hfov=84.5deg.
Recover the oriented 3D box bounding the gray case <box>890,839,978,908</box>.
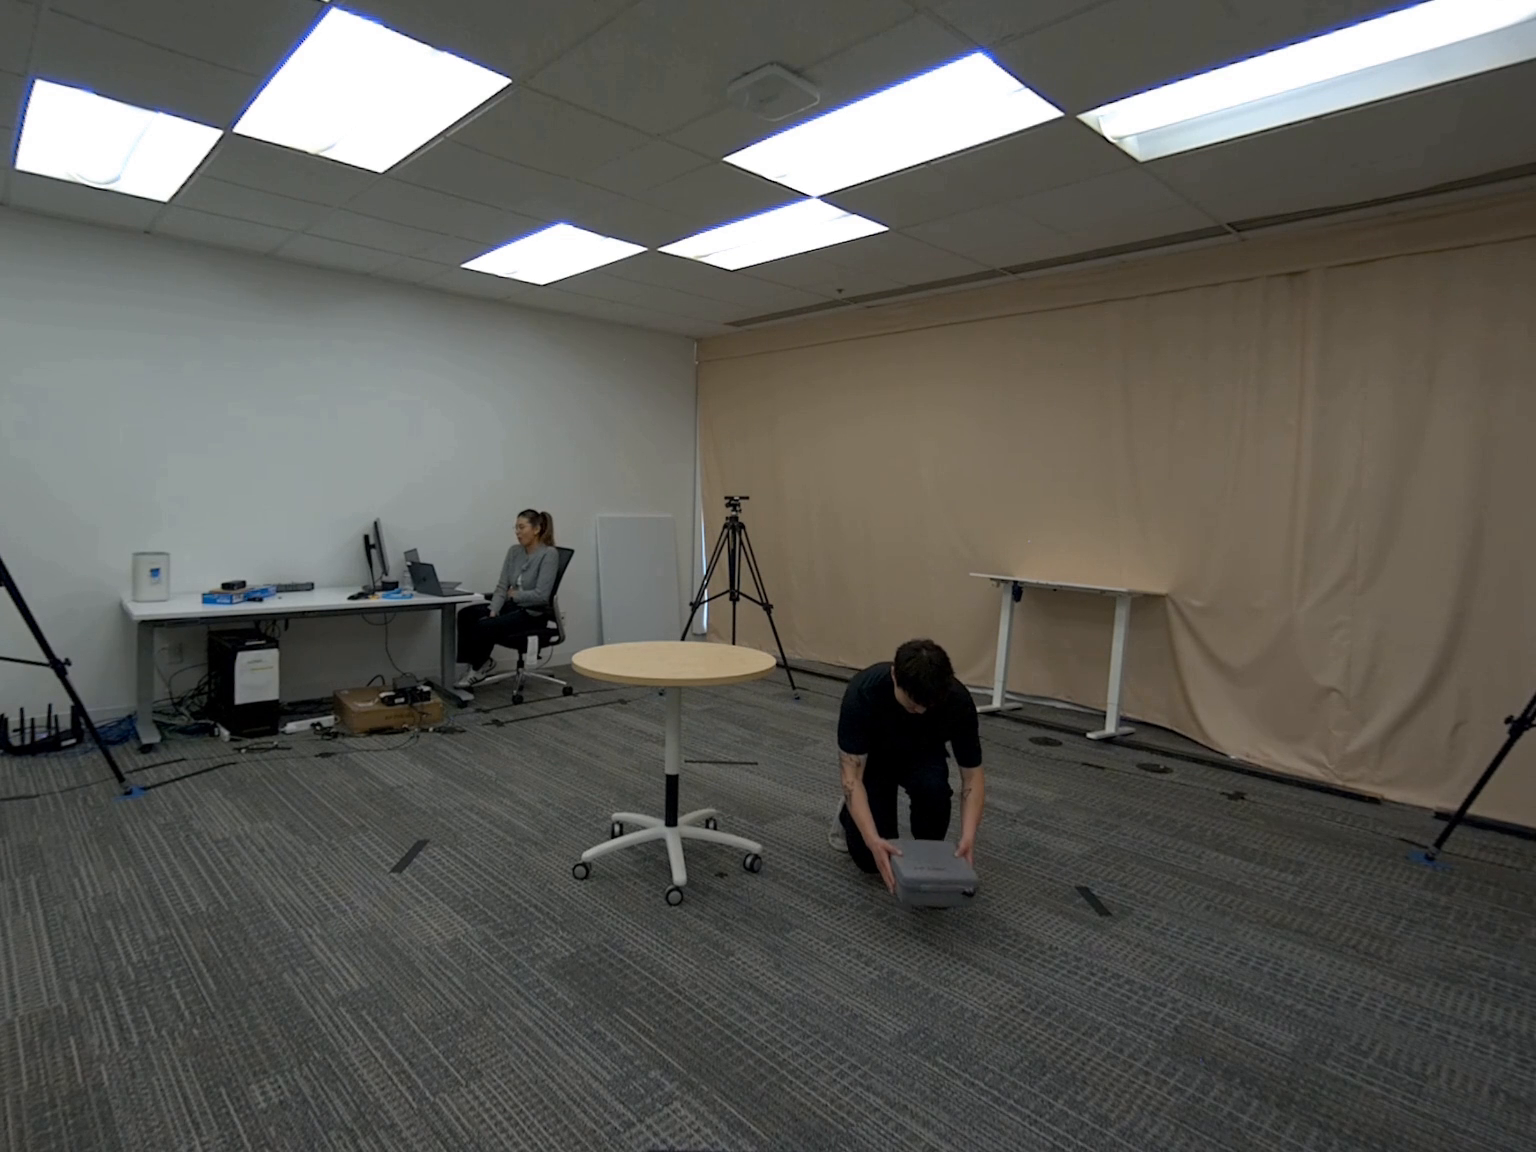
[{"bbox_3d":[0.513,0.951,2.693,0.255,0.104,0.264,3,10,-7],"label":"gray case"}]
